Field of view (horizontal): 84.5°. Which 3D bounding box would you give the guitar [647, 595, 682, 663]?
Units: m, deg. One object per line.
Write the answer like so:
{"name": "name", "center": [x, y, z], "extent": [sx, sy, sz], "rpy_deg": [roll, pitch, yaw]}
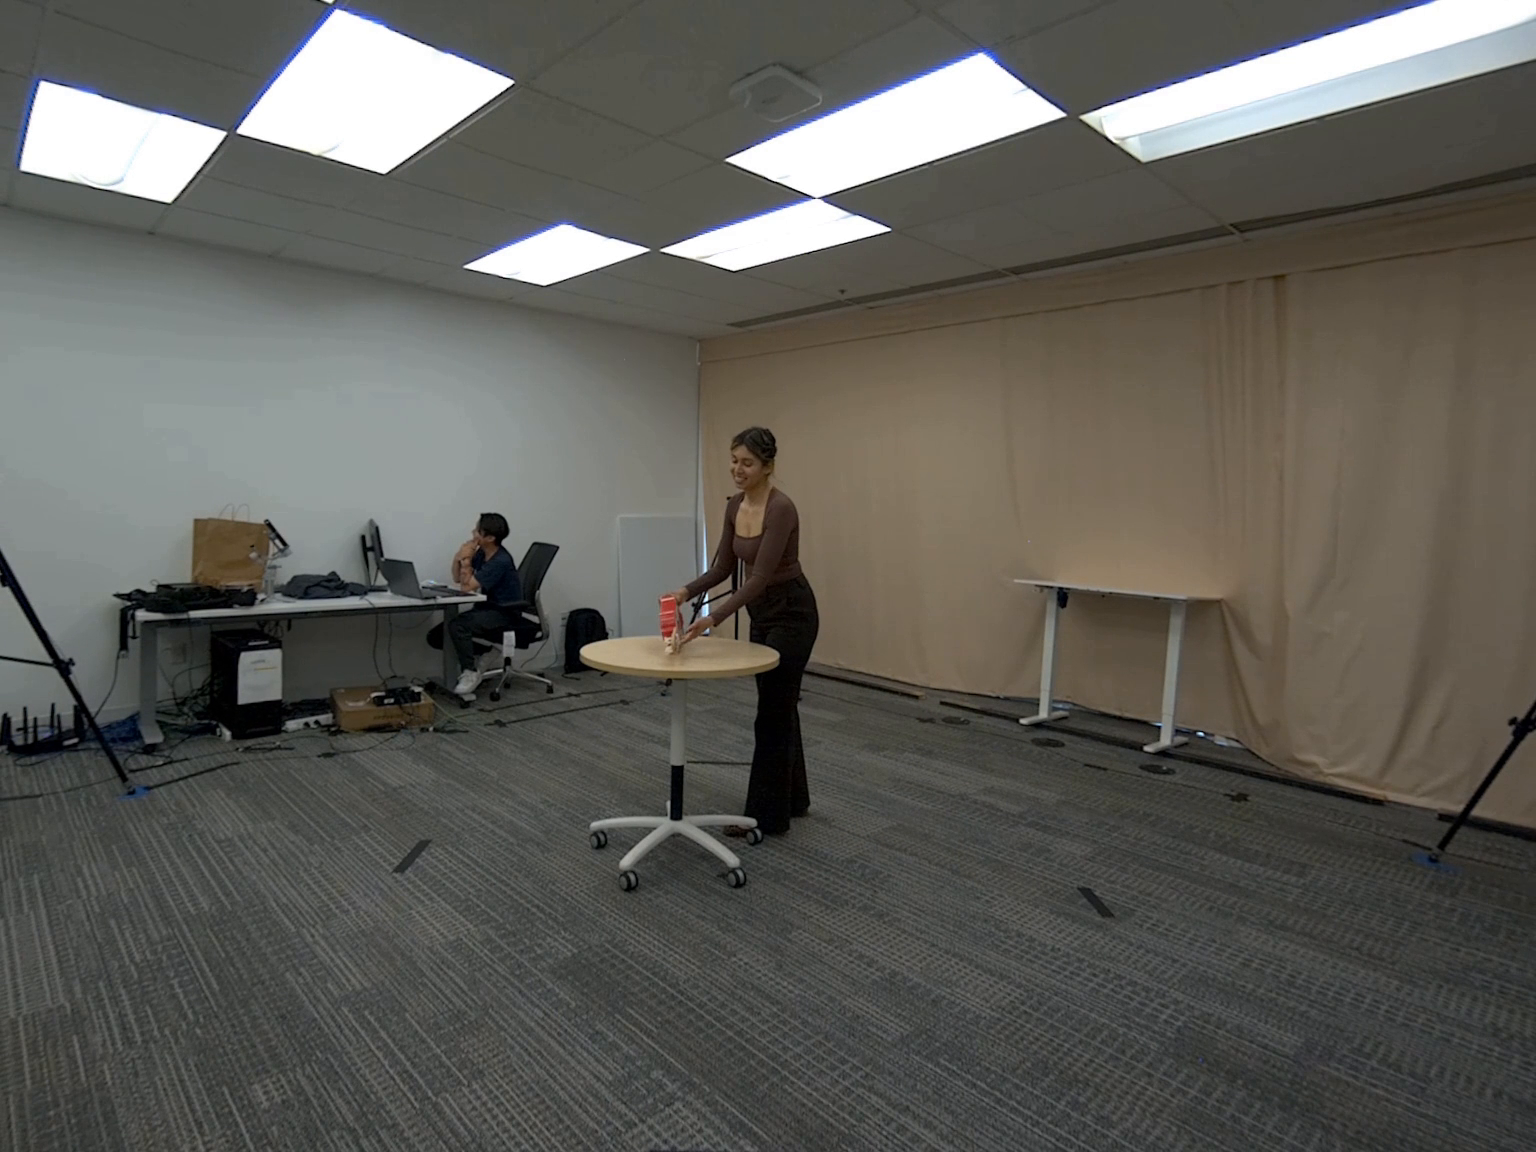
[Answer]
{"name": "guitar", "center": [-0.386, 0.188, 3.184], "extent": [0.071, 0.193, 0.498], "rpy_deg": [0, 3, -1]}
